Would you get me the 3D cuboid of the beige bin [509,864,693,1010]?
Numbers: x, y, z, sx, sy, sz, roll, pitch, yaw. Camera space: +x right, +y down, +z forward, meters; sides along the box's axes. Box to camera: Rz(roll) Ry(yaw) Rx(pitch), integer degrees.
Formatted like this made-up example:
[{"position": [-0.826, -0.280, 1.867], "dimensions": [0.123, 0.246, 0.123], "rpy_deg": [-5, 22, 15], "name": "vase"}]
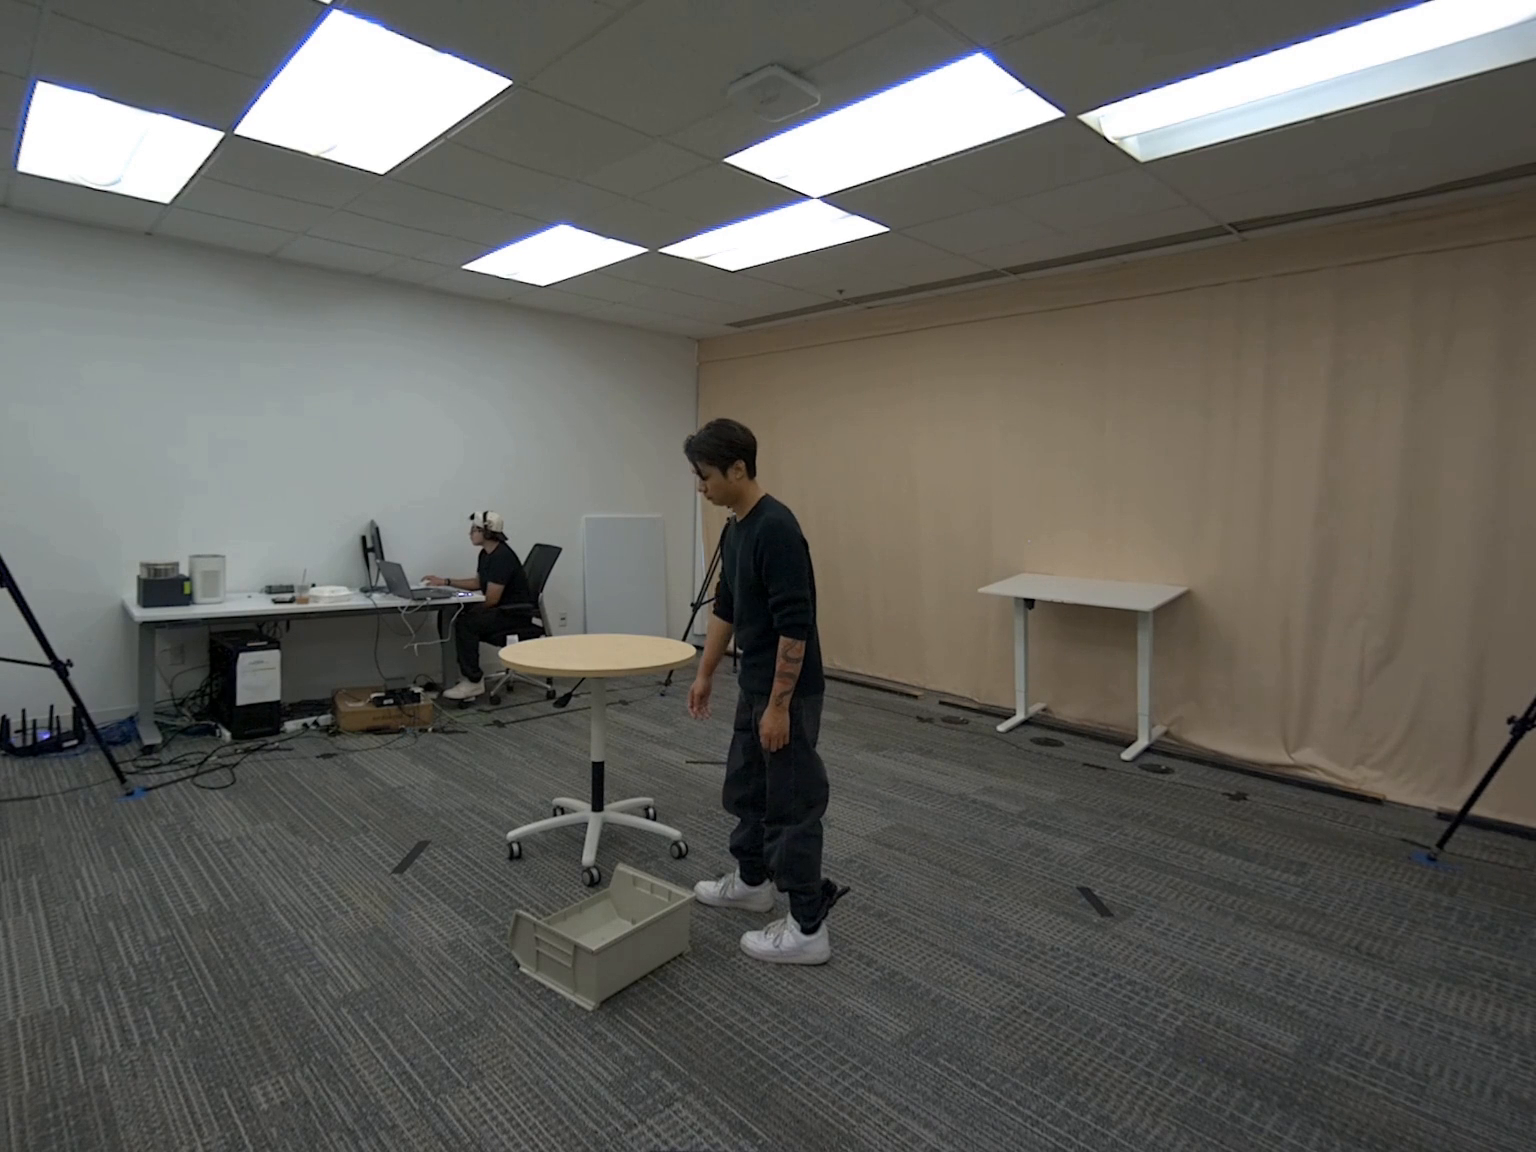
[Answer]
[{"position": [-0.498, 1.065, 2.525], "dimensions": [0.387, 0.188, 0.413], "rpy_deg": [6, 6, 37], "name": "beige bin"}]
